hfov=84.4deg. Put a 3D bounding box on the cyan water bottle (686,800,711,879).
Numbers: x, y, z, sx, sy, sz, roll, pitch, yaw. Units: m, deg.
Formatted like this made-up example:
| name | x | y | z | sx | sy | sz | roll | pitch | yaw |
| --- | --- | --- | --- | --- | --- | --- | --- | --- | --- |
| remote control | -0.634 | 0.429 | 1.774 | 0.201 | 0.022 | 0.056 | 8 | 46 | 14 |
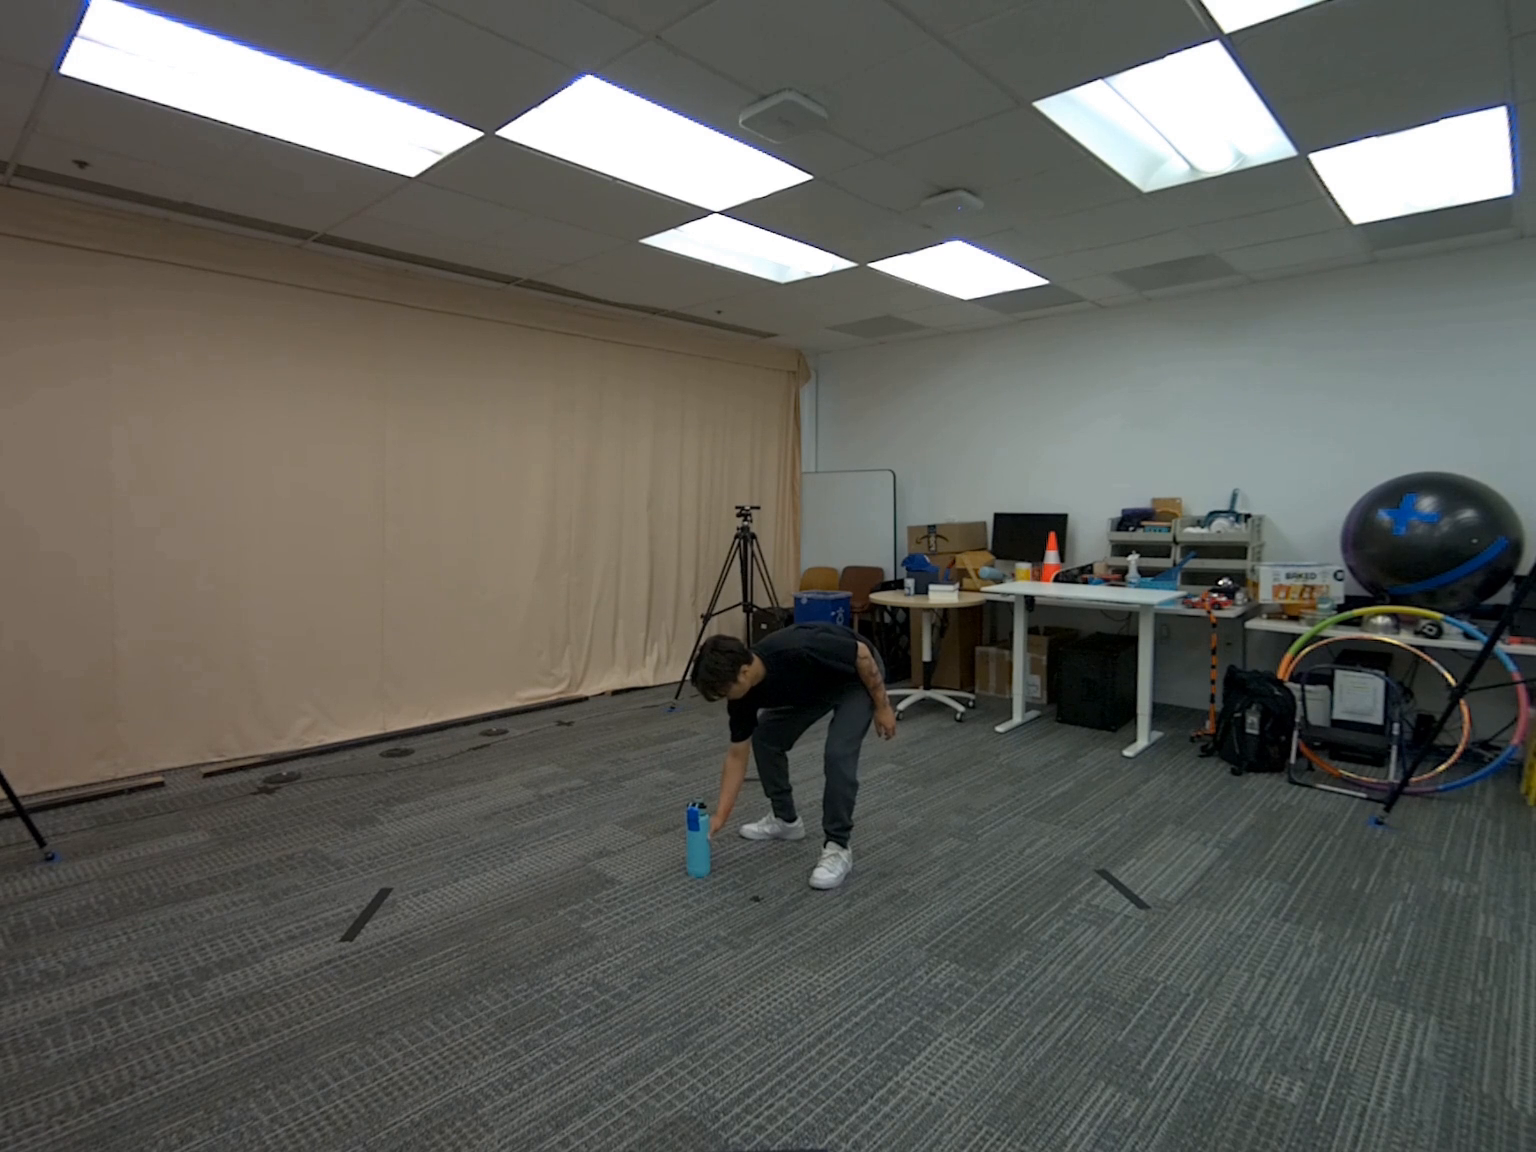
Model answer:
| name | x | y | z | sx | sy | sz | roll | pitch | yaw |
| --- | --- | --- | --- | --- | --- | --- | --- | --- | --- |
| cyan water bottle | -0.264 | 0.996 | 3.197 | 0.092 | 0.283 | 0.093 | 0 | 4 | -2 |
